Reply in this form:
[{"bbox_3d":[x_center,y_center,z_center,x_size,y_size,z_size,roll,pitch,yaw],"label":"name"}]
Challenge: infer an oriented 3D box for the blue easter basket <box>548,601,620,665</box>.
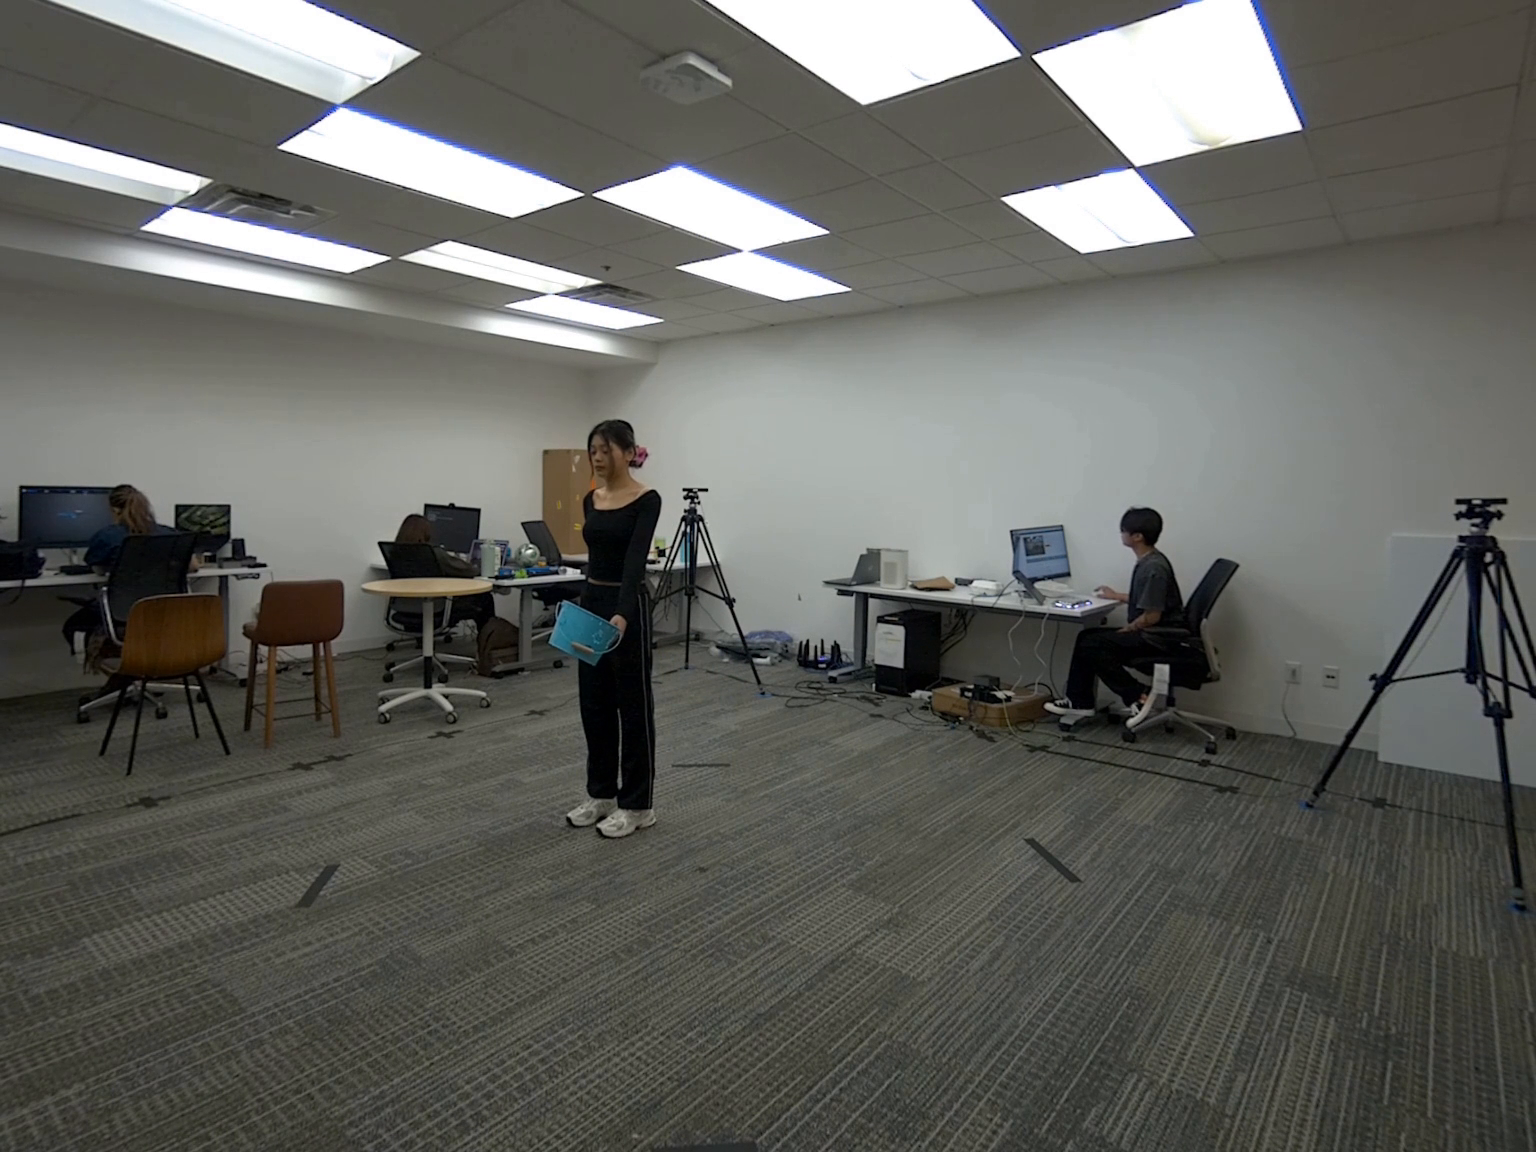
[{"bbox_3d":[-0.659,0.206,2.960,0.245,0.156,0.241,25,-9,2],"label":"blue easter basket"}]
